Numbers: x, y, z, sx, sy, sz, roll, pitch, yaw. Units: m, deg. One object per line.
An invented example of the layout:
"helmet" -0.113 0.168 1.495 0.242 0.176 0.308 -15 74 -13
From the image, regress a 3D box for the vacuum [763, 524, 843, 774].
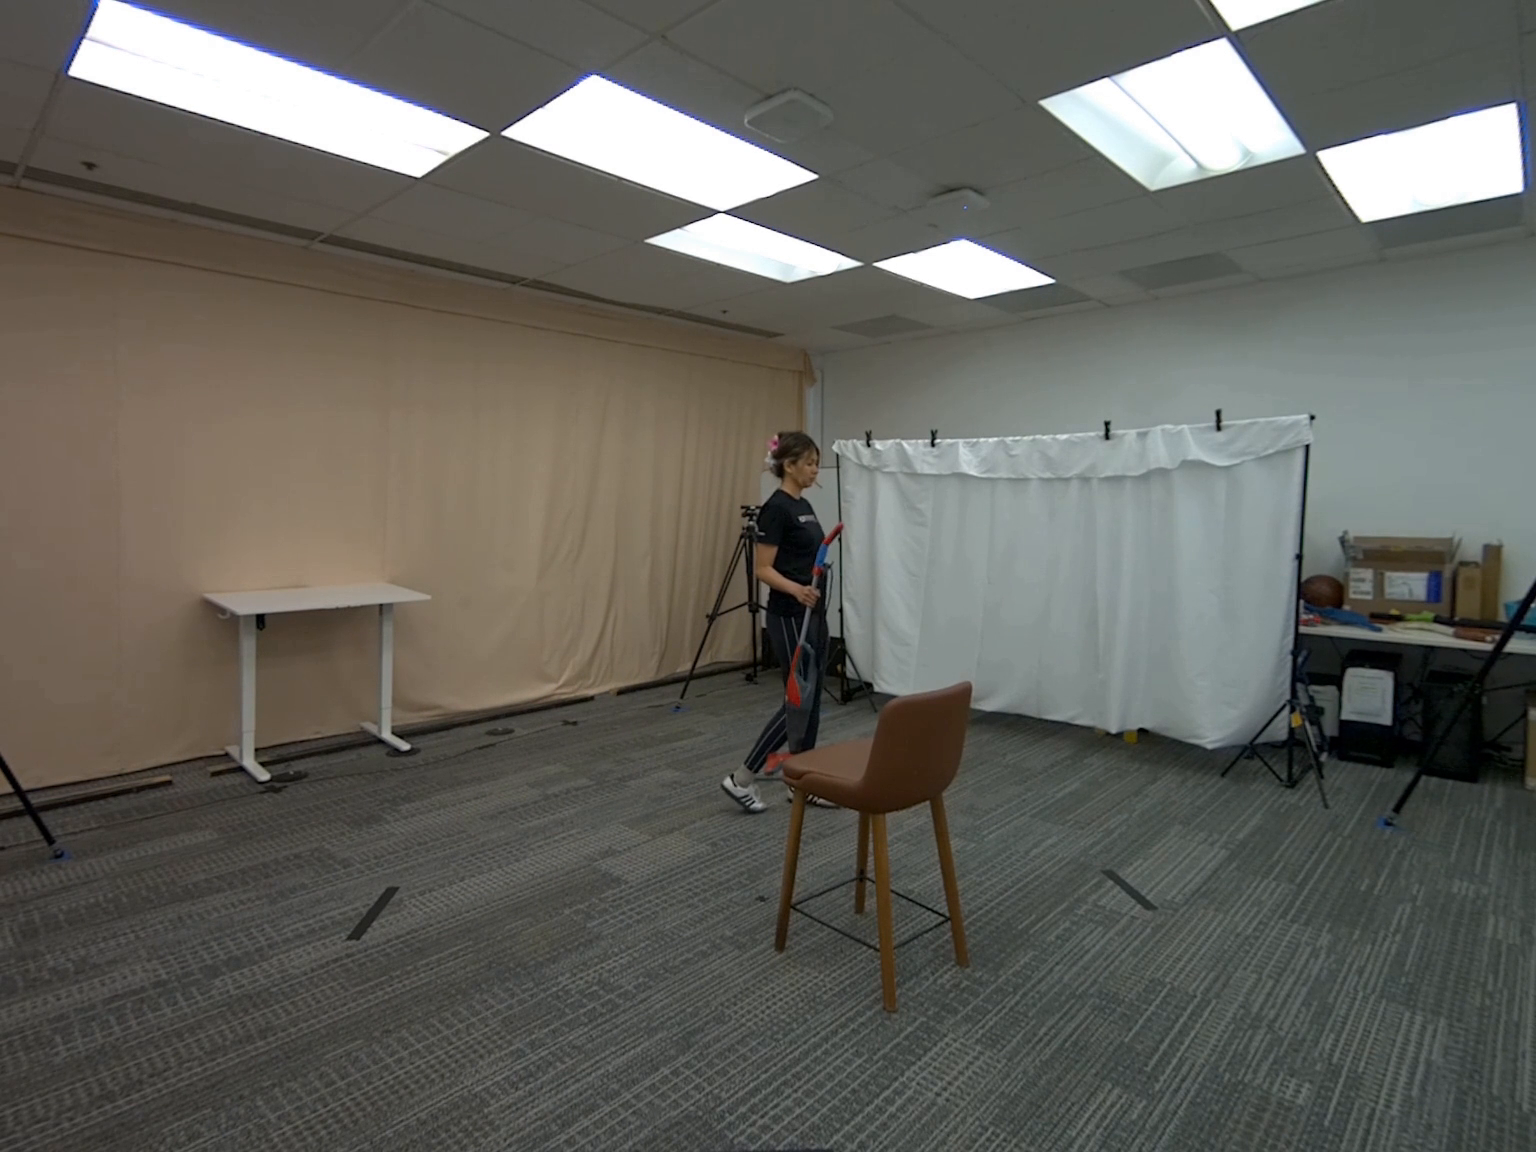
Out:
"vacuum" 0.184 0.292 3.545 0.145 1.047 0.251 13 5 3
